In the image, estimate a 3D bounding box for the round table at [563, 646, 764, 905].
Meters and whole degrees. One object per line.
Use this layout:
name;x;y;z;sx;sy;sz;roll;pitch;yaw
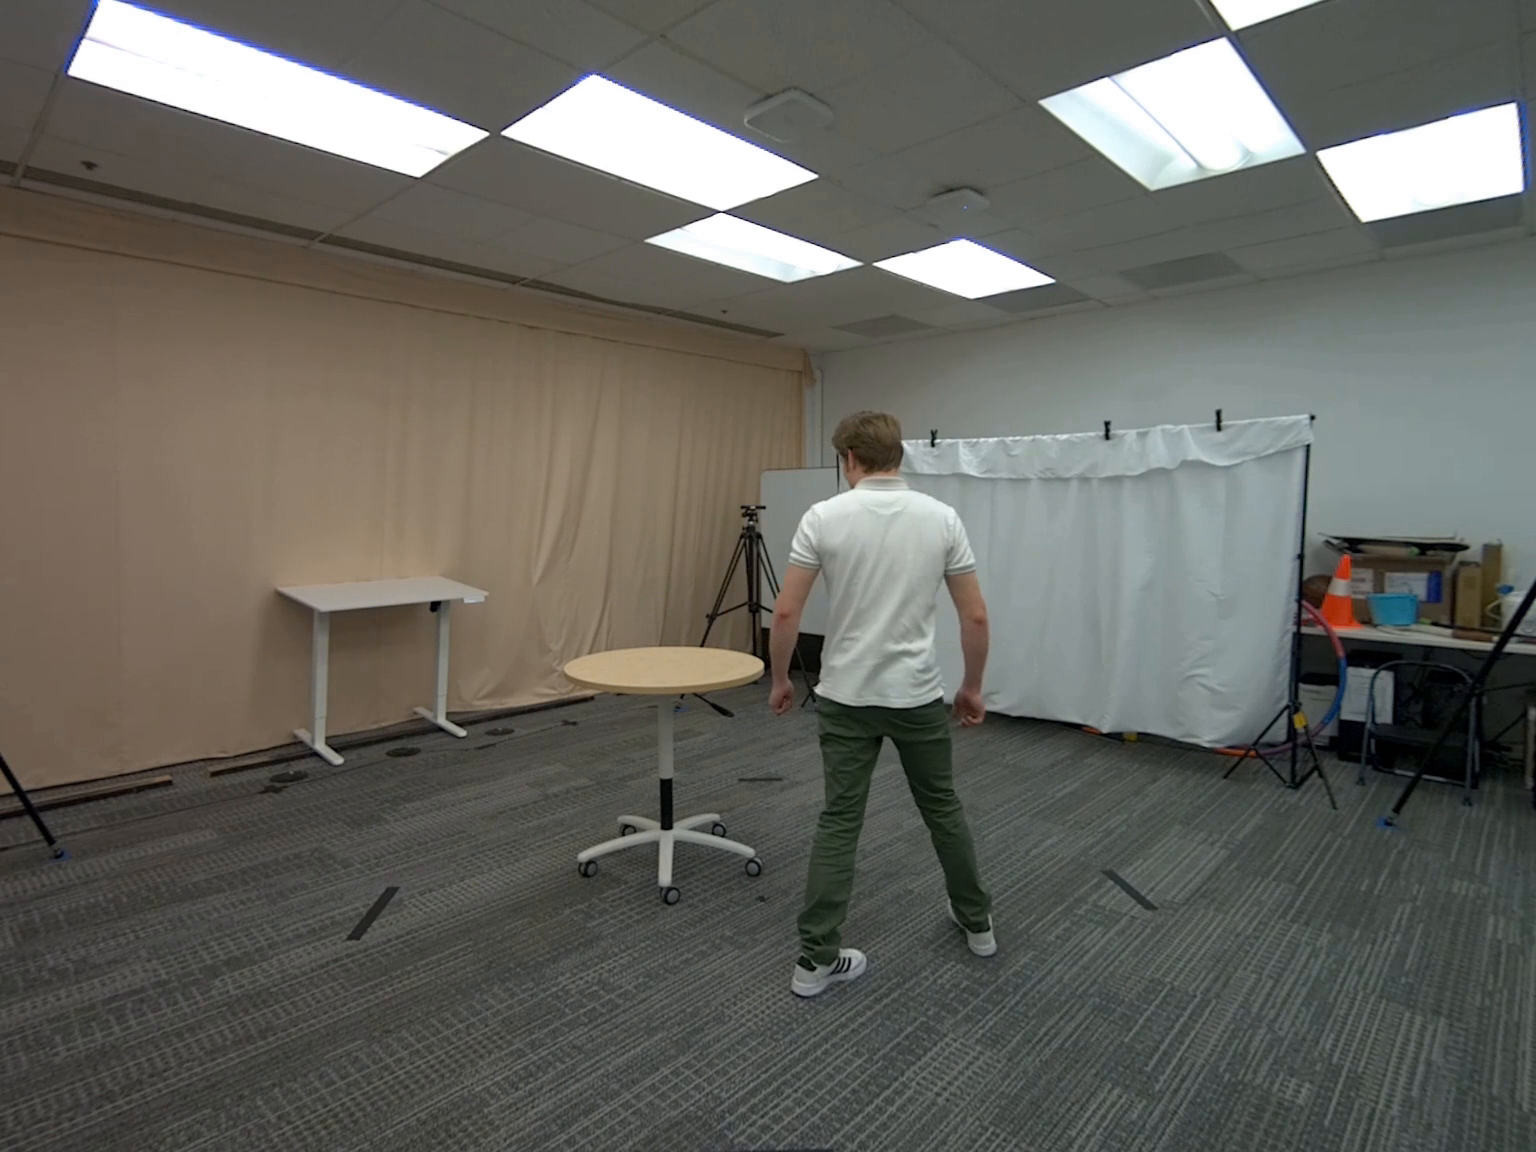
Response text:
round table;-0.387;0.734;3.265;0.763;0.792;0.767;-1;4;-2
